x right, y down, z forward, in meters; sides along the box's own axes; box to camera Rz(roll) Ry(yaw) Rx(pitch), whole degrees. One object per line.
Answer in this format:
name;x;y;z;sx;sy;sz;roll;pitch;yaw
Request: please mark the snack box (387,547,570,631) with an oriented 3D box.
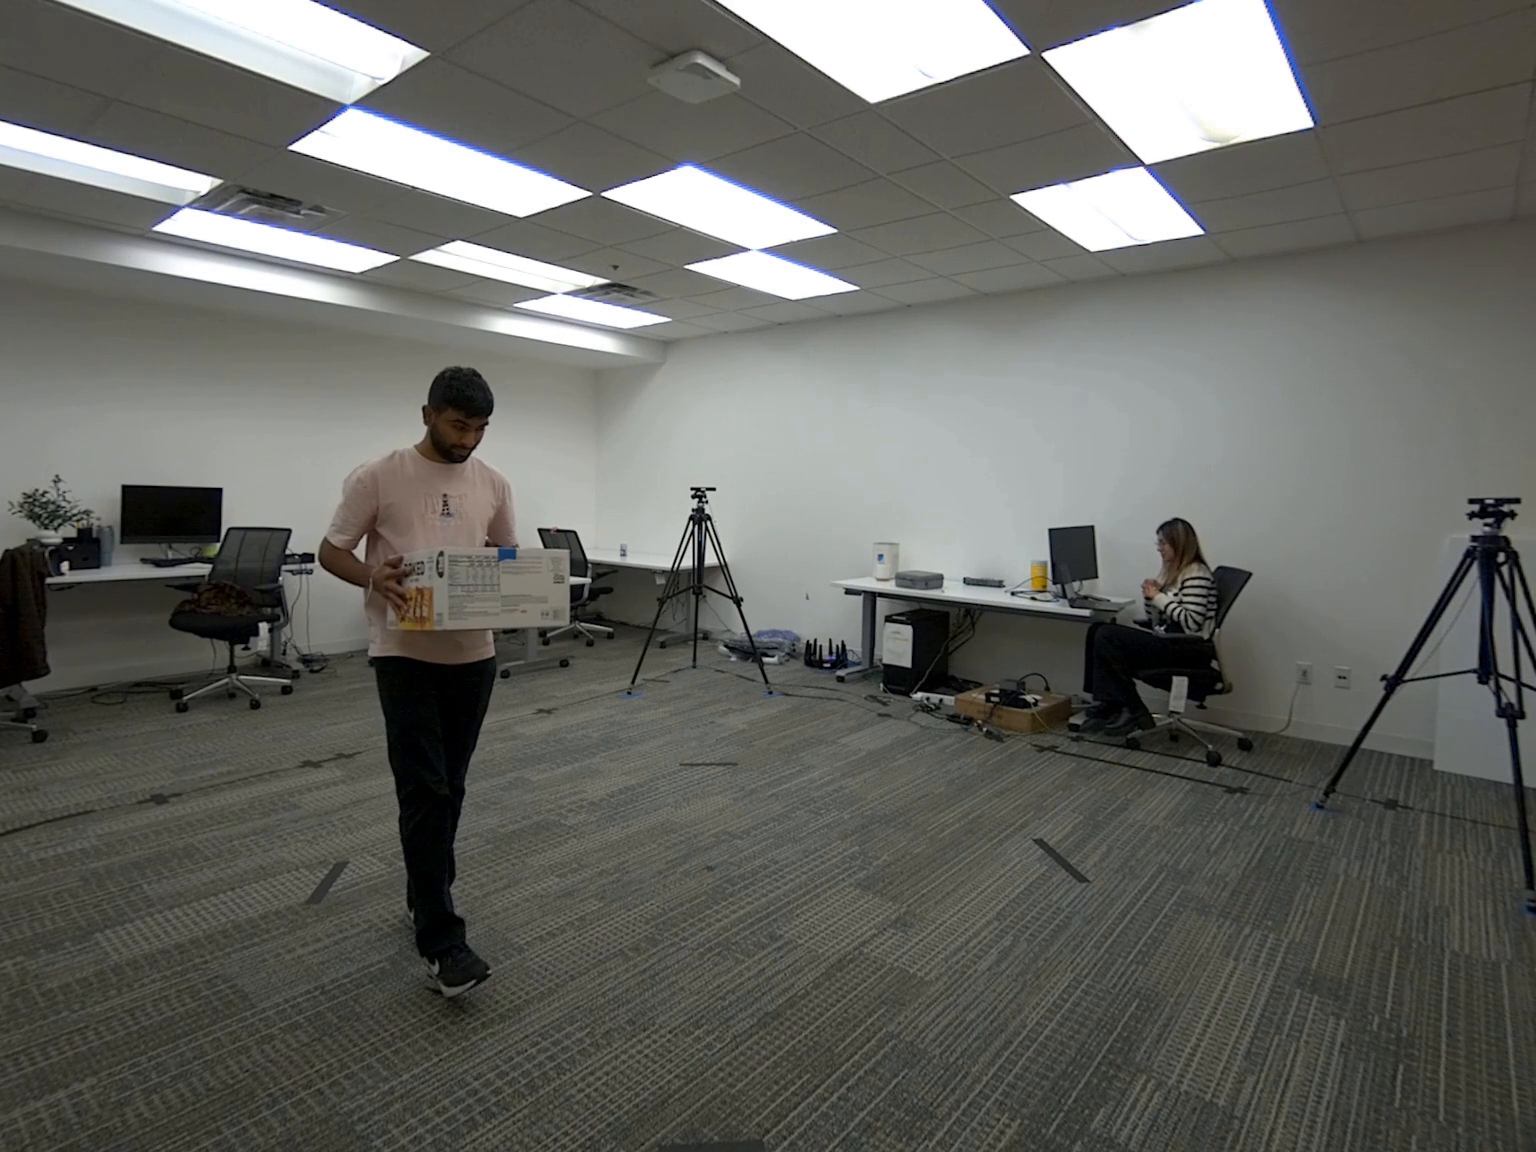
snack box;-0.789;0.037;2.279;0.329;0.206;0.417;0;-3;-42
